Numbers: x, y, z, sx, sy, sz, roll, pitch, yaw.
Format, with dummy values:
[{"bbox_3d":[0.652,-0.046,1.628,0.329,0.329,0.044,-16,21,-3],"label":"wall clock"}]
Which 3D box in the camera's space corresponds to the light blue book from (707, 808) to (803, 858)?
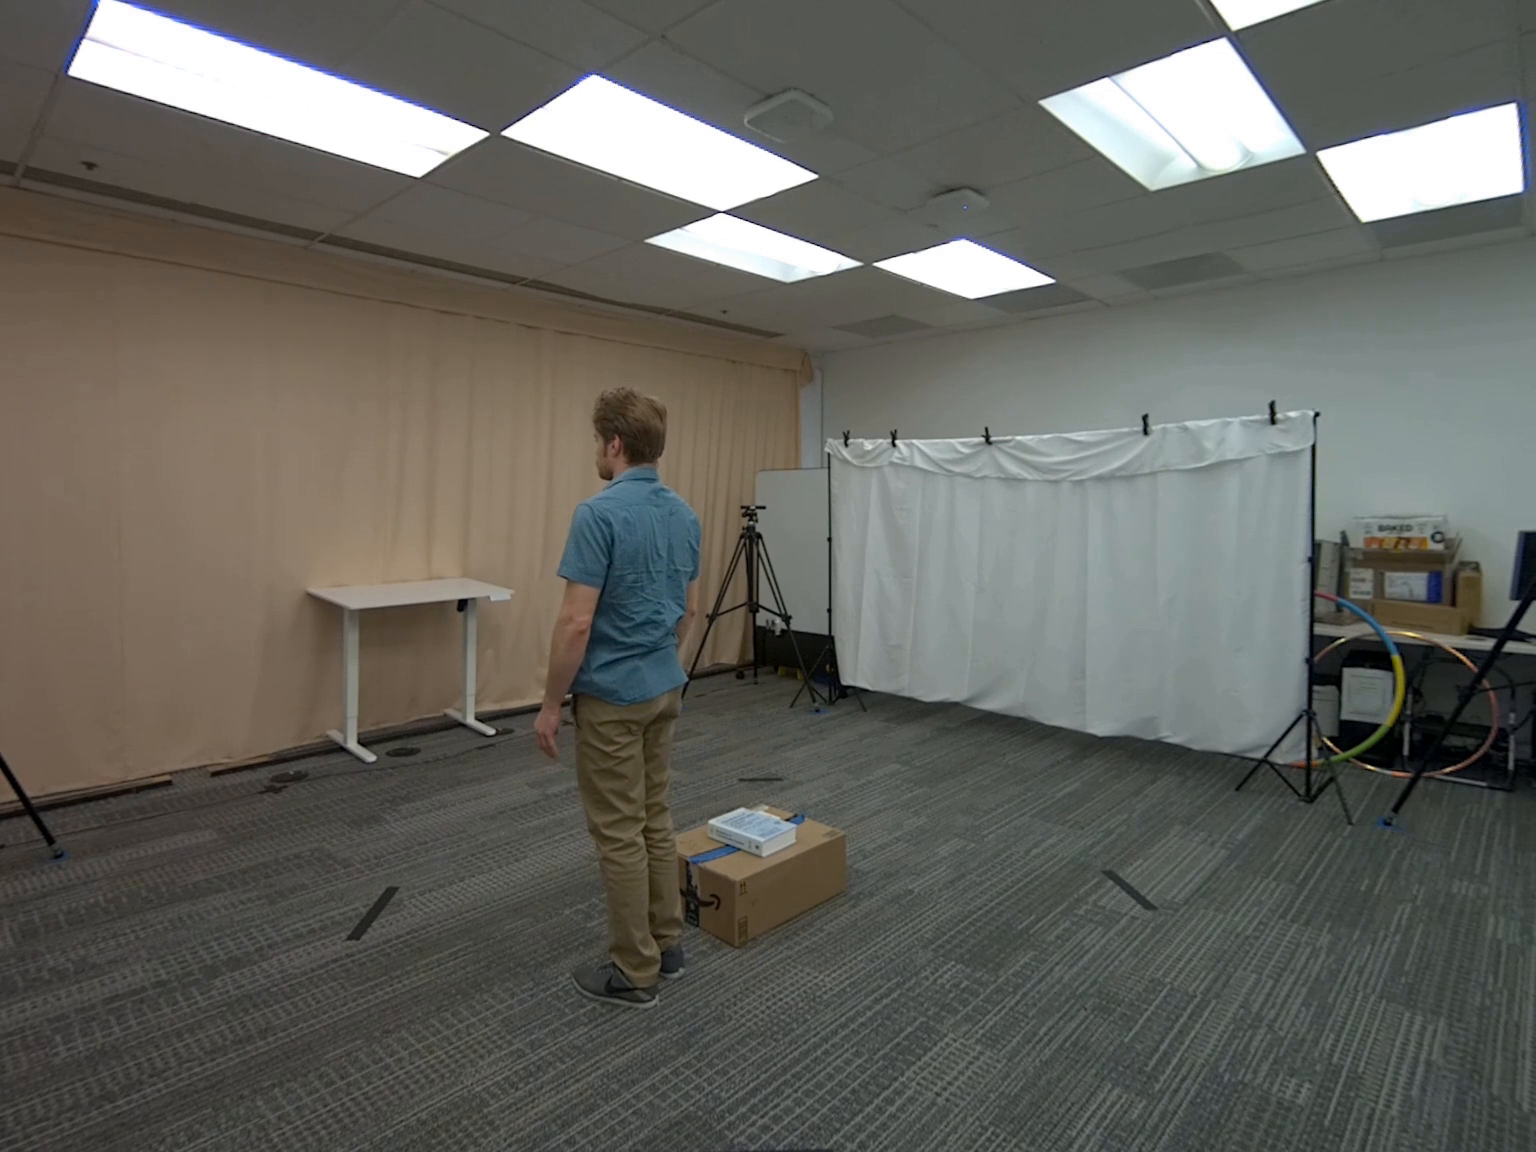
[{"bbox_3d":[-0.056,0.900,2.986,0.270,0.059,0.185,4,6,41],"label":"light blue book"}]
